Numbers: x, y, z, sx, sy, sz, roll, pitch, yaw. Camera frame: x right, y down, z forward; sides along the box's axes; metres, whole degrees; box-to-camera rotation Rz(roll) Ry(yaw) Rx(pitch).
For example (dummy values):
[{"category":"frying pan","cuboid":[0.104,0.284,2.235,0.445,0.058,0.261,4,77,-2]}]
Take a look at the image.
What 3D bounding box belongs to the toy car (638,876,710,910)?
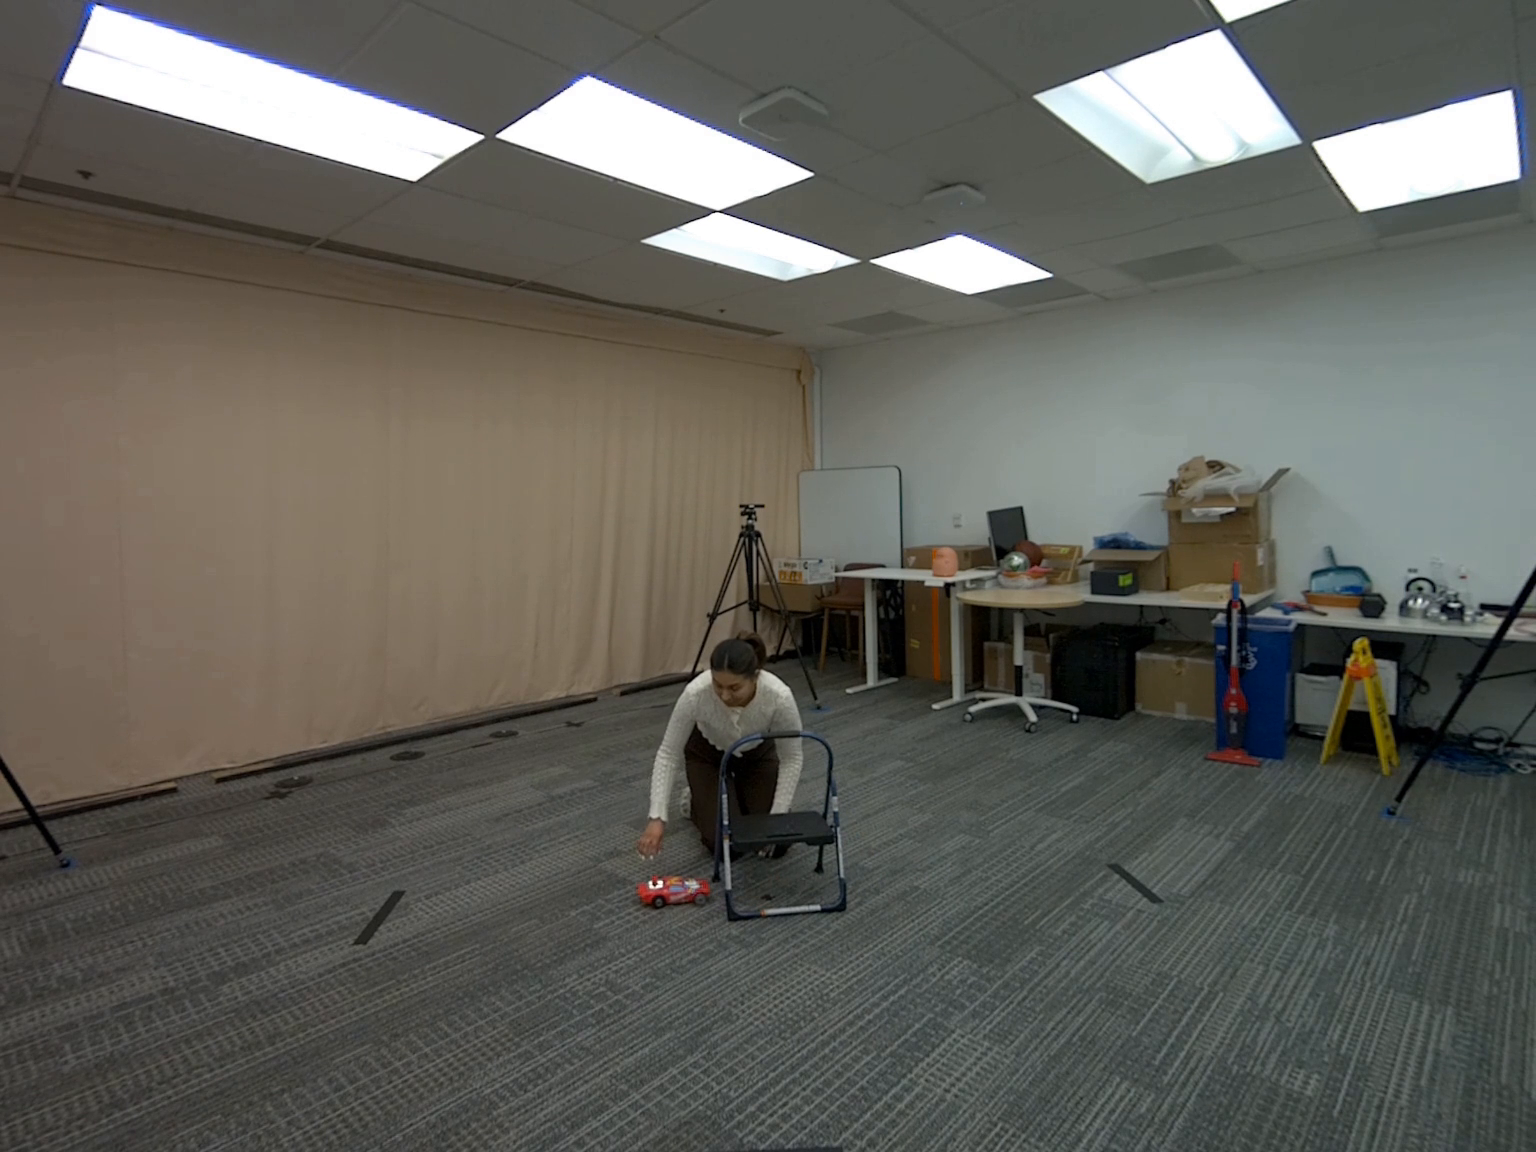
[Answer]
[{"category":"toy car","cuboid":[-0.333,1.119,2.984,0.252,0.083,0.132,4,4,-8]}]
